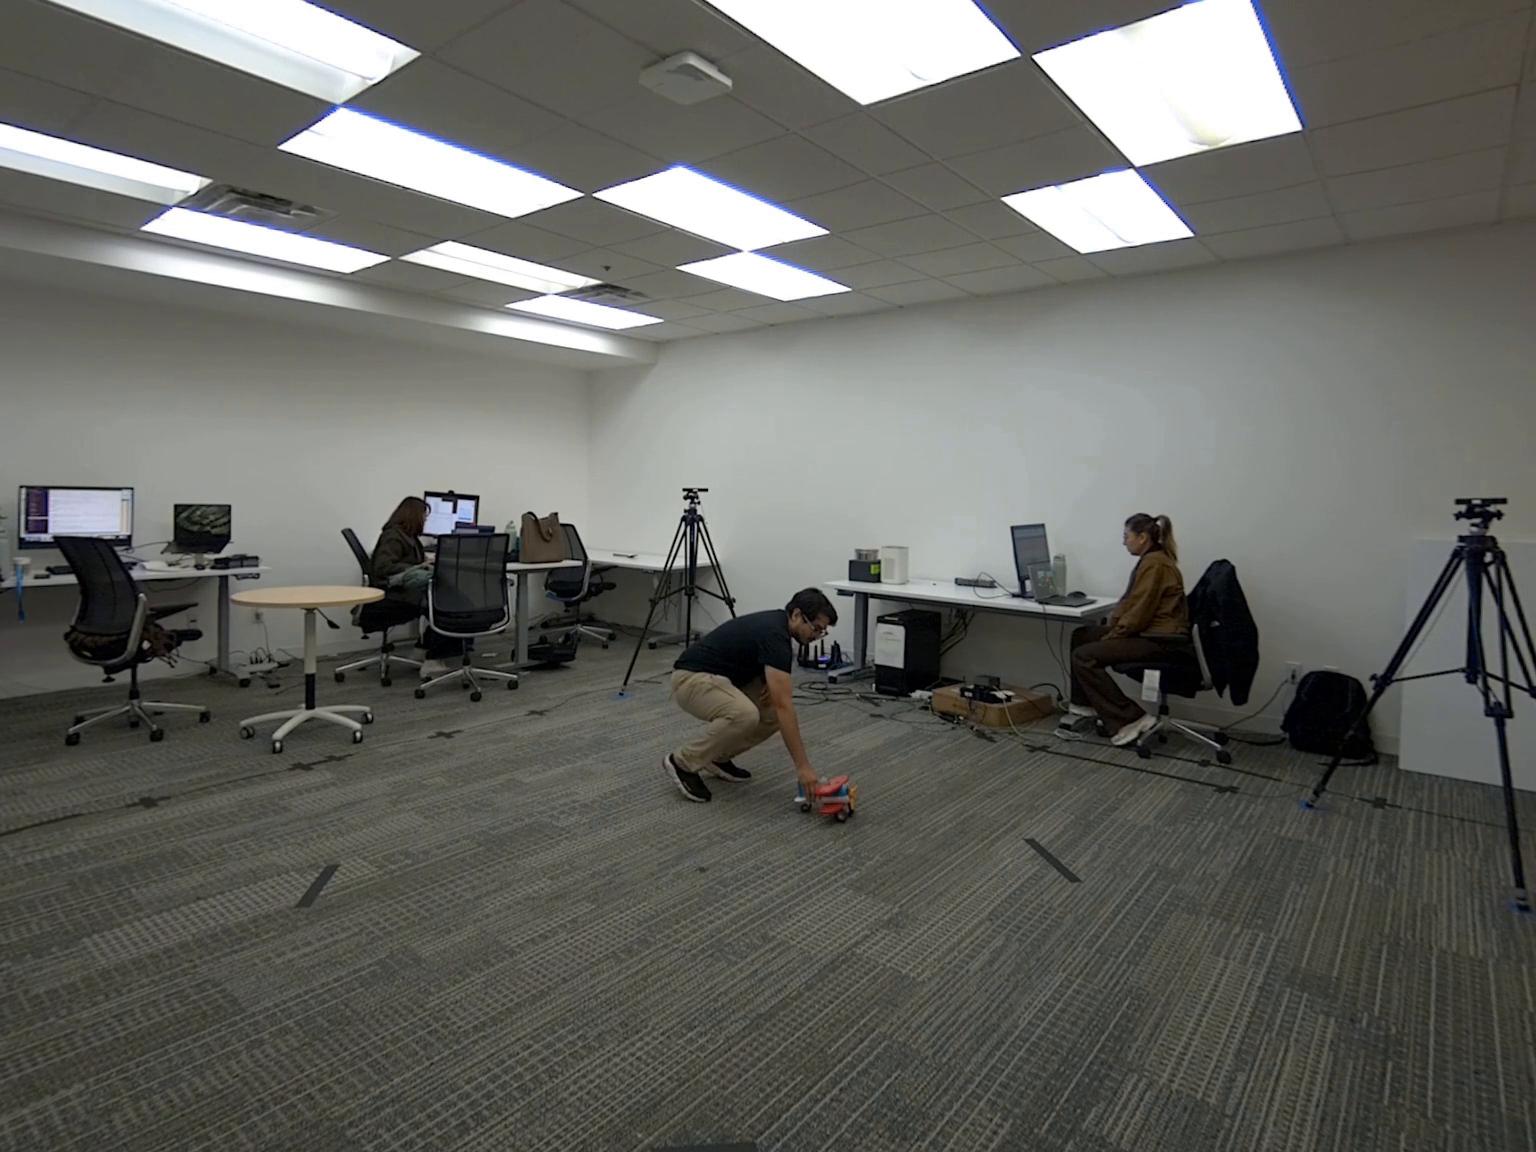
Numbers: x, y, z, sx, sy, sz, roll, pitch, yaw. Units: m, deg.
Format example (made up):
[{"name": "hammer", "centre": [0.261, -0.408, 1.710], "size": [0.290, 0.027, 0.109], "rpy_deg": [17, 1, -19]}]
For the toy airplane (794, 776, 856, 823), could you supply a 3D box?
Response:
[{"name": "toy airplane", "centre": [0.240, 0.951, 3.649], "size": [0.259, 0.156, 0.252], "rpy_deg": [3, 4, -2]}]
